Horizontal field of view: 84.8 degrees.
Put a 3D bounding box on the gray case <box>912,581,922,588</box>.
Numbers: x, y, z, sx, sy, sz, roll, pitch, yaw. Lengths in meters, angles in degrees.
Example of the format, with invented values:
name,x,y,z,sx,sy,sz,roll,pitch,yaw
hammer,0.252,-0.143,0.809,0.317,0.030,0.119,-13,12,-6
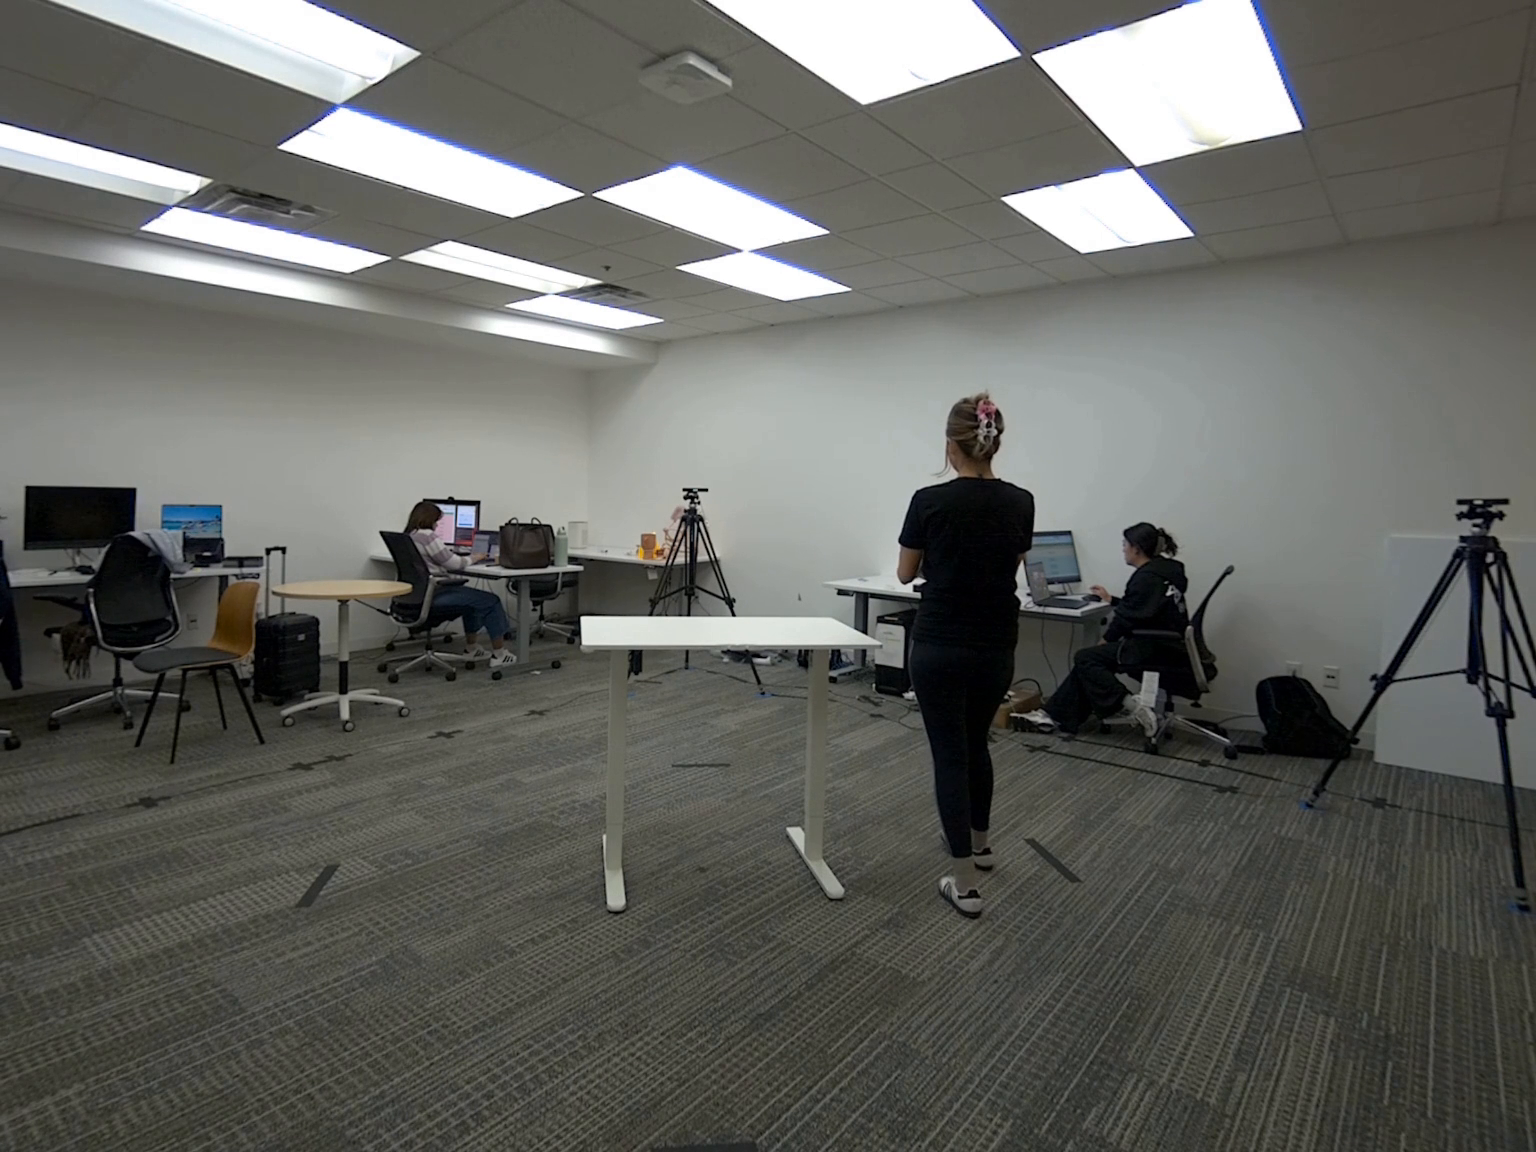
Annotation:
name,x,y,z,sx,sy,sz,roll,pitch,yaw
gray case,0.617,-0.134,3.329,0.103,0.259,0.261,1,6,-11
